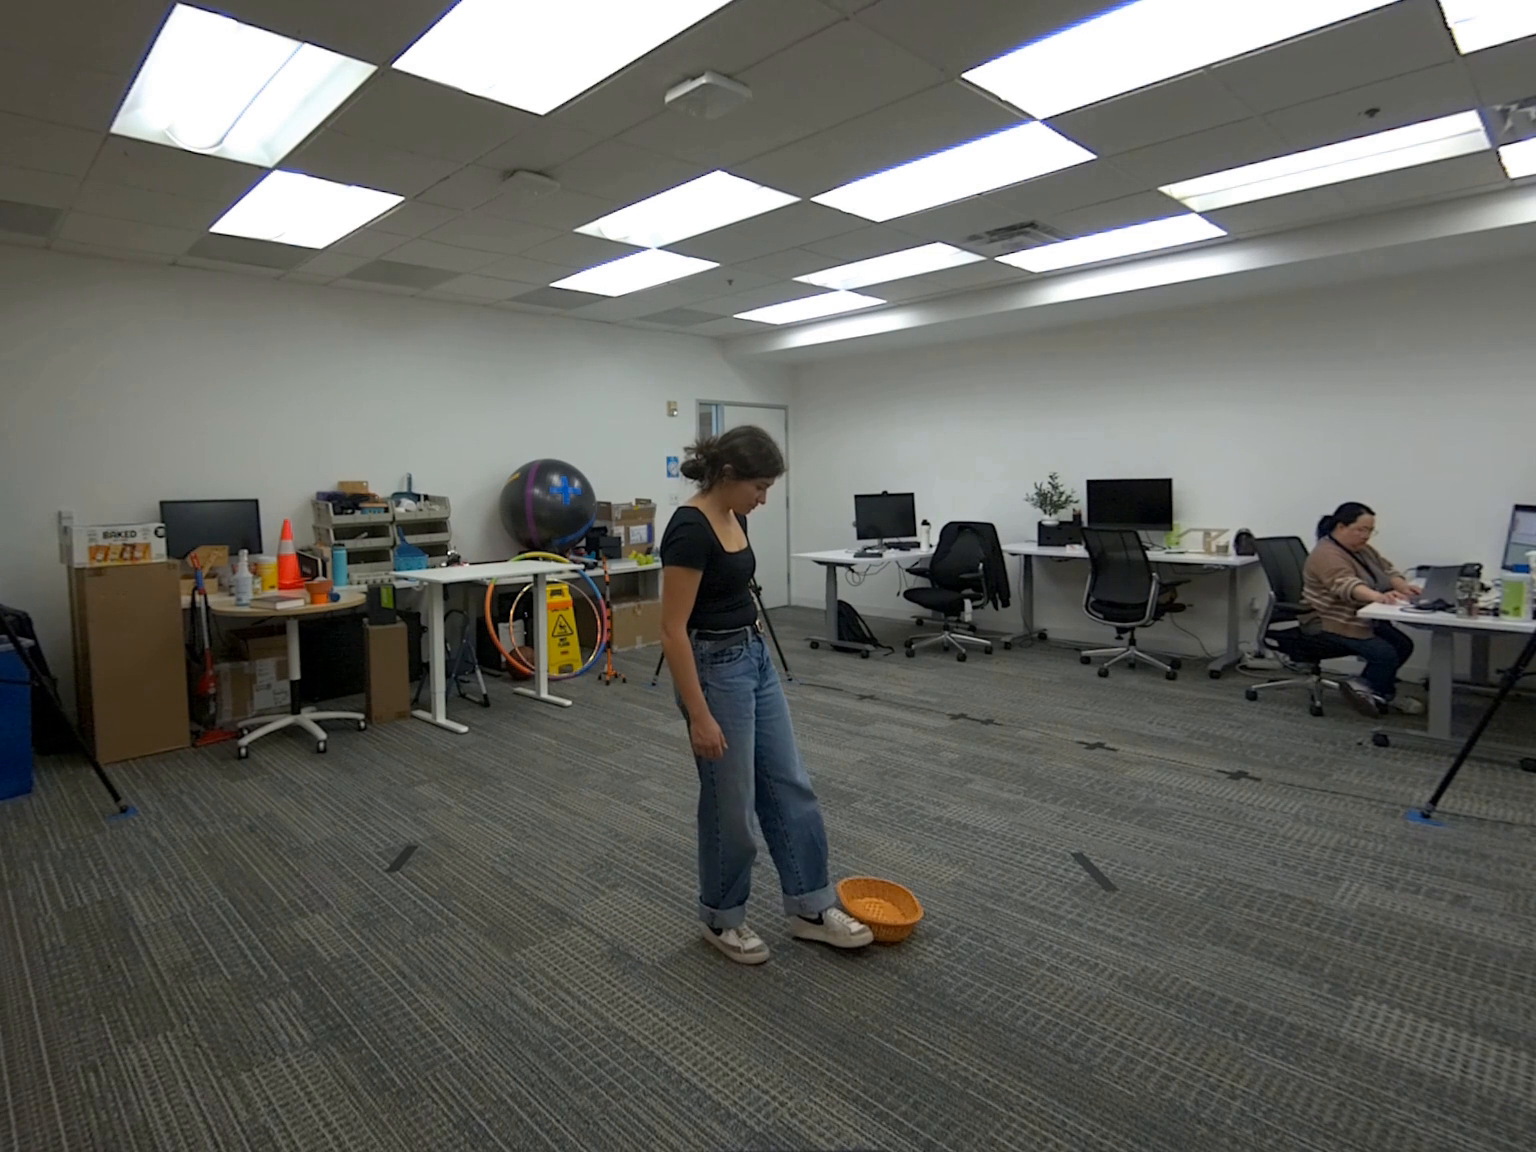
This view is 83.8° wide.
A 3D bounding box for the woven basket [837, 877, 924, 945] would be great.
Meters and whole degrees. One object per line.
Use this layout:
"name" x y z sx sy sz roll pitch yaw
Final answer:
"woven basket" 0.351 1.042 2.677 0.252 0.073 0.350 3 2 -1
